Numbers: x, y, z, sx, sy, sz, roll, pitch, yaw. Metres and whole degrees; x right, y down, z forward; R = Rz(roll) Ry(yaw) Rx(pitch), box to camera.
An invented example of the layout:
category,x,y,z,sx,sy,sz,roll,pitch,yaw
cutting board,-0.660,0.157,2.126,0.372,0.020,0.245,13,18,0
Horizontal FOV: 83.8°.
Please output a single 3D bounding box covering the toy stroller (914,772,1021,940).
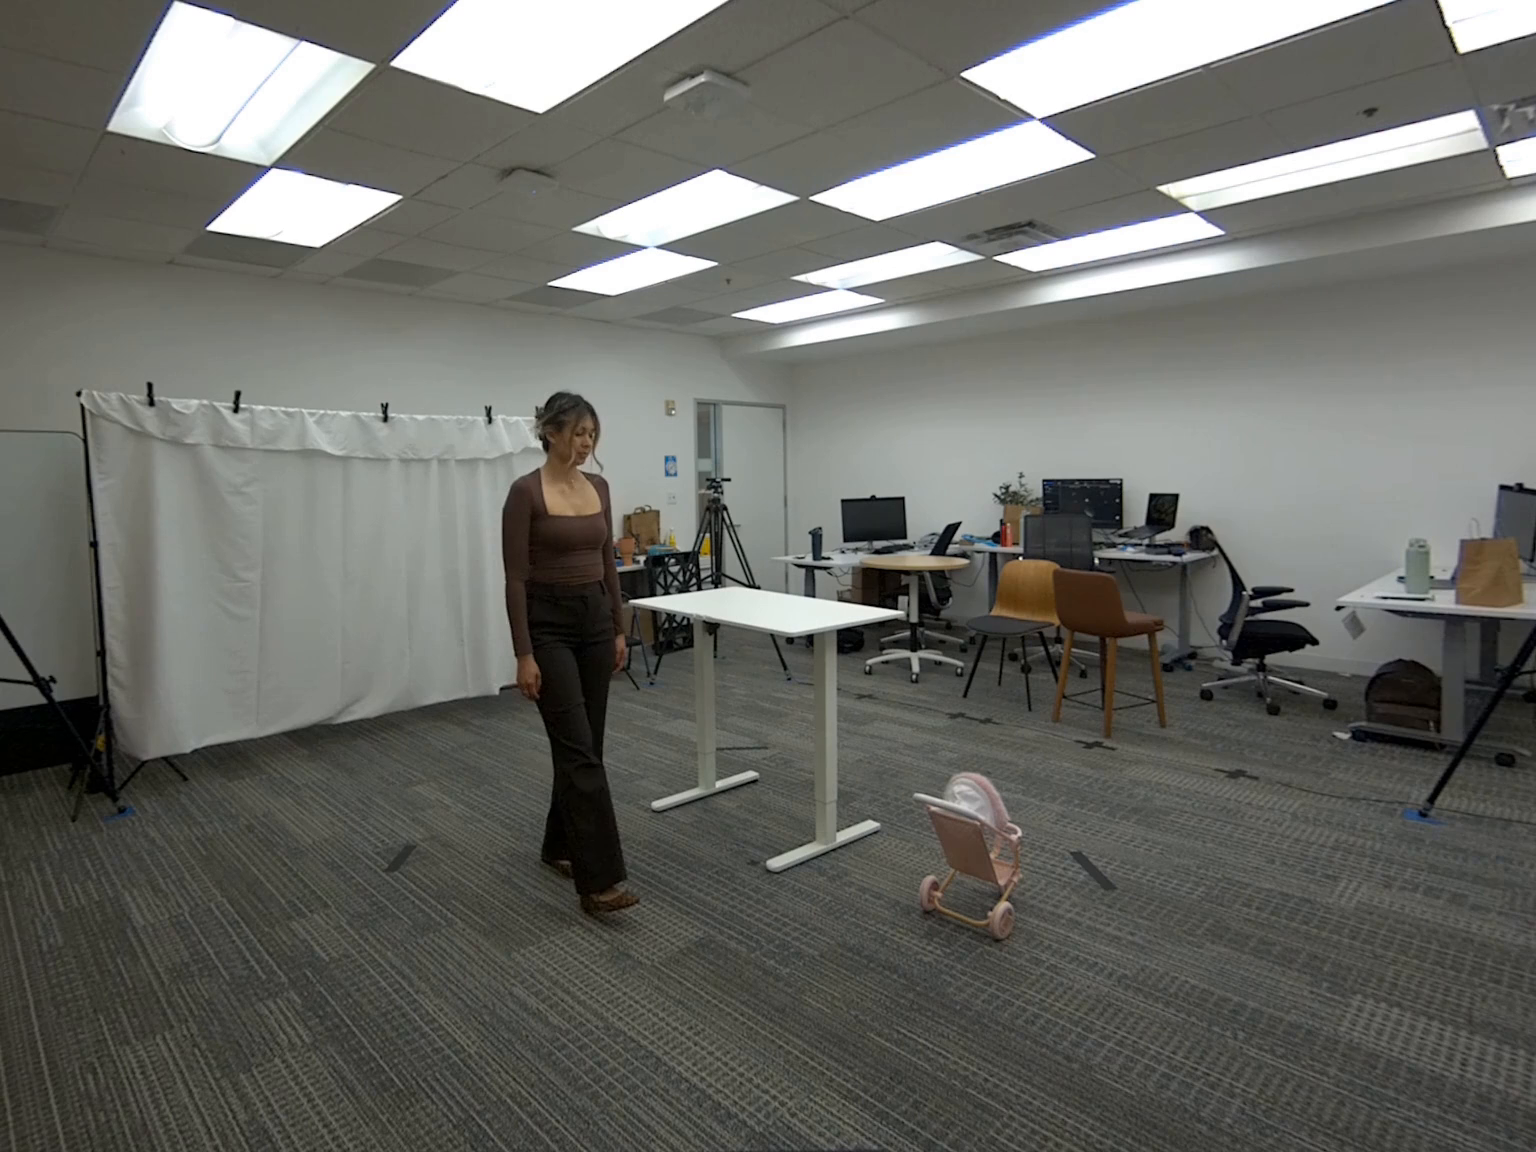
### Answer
category,x,y,z,sx,sy,sz,roll,pitch,yaw
toy stroller,0.653,0.848,2.686,0.336,0.527,0.290,-25,19,-39
